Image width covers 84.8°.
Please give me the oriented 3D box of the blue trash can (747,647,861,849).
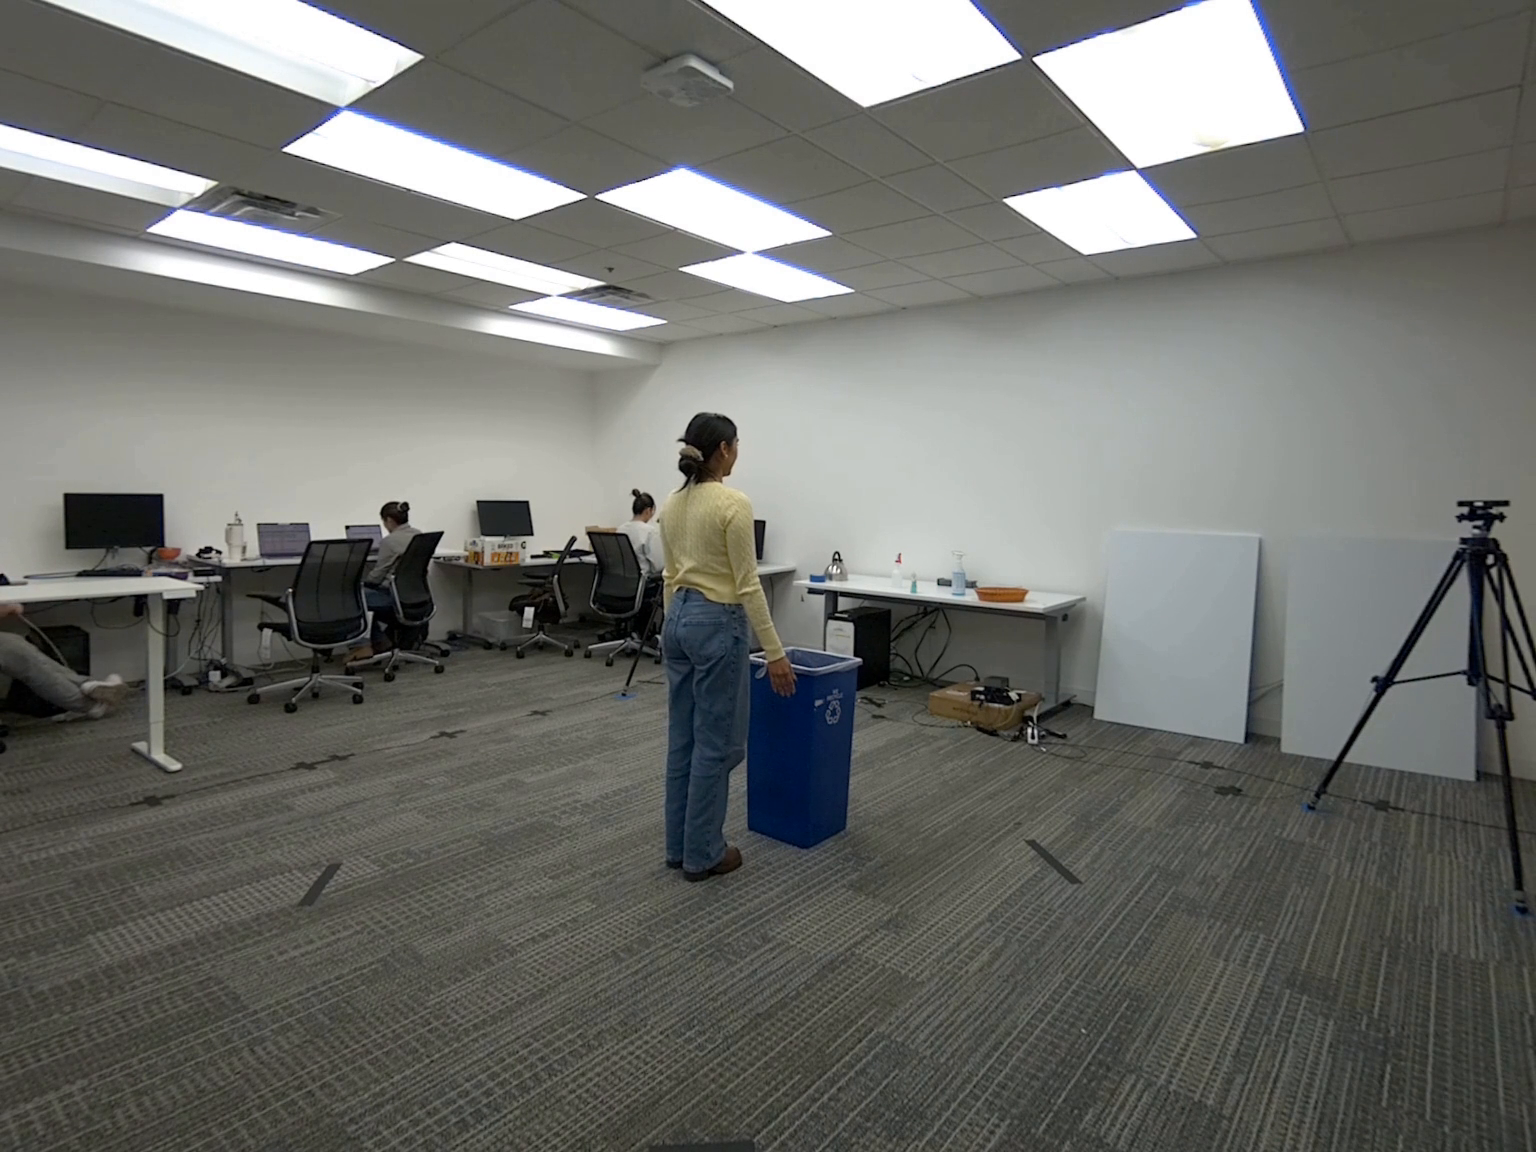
[{"bbox_3d":[0.124,0.685,3.509,0.391,0.711,0.363,4,4,38],"label":"blue trash can"}]
